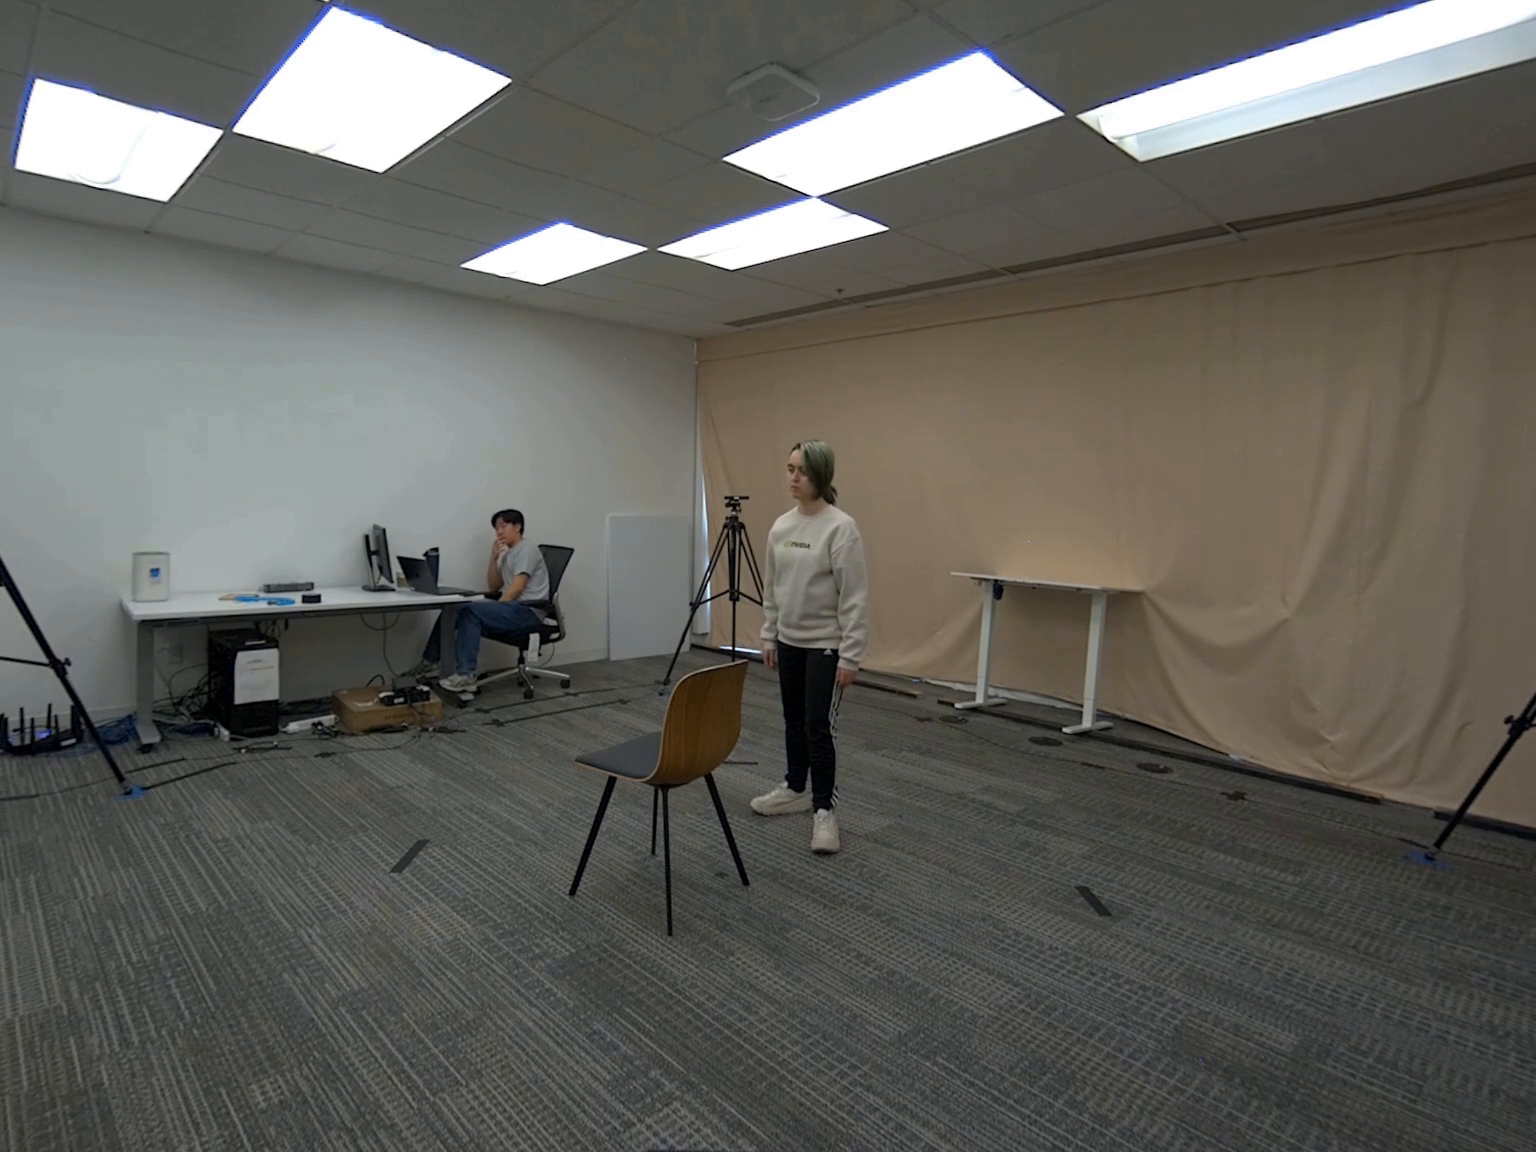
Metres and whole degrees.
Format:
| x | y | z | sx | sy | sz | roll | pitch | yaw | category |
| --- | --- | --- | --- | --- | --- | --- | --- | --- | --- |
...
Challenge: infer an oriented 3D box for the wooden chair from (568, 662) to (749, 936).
| x | y | z | sx | sy | sz | roll | pitch | yaw | category |
| --- | --- | --- | --- | --- | --- | --- | --- | --- | --- |
| -0.380 | 0.685 | 2.943 | 0.536 | 0.874 | 0.468 | 9 | 7 | 34 | wooden chair |
